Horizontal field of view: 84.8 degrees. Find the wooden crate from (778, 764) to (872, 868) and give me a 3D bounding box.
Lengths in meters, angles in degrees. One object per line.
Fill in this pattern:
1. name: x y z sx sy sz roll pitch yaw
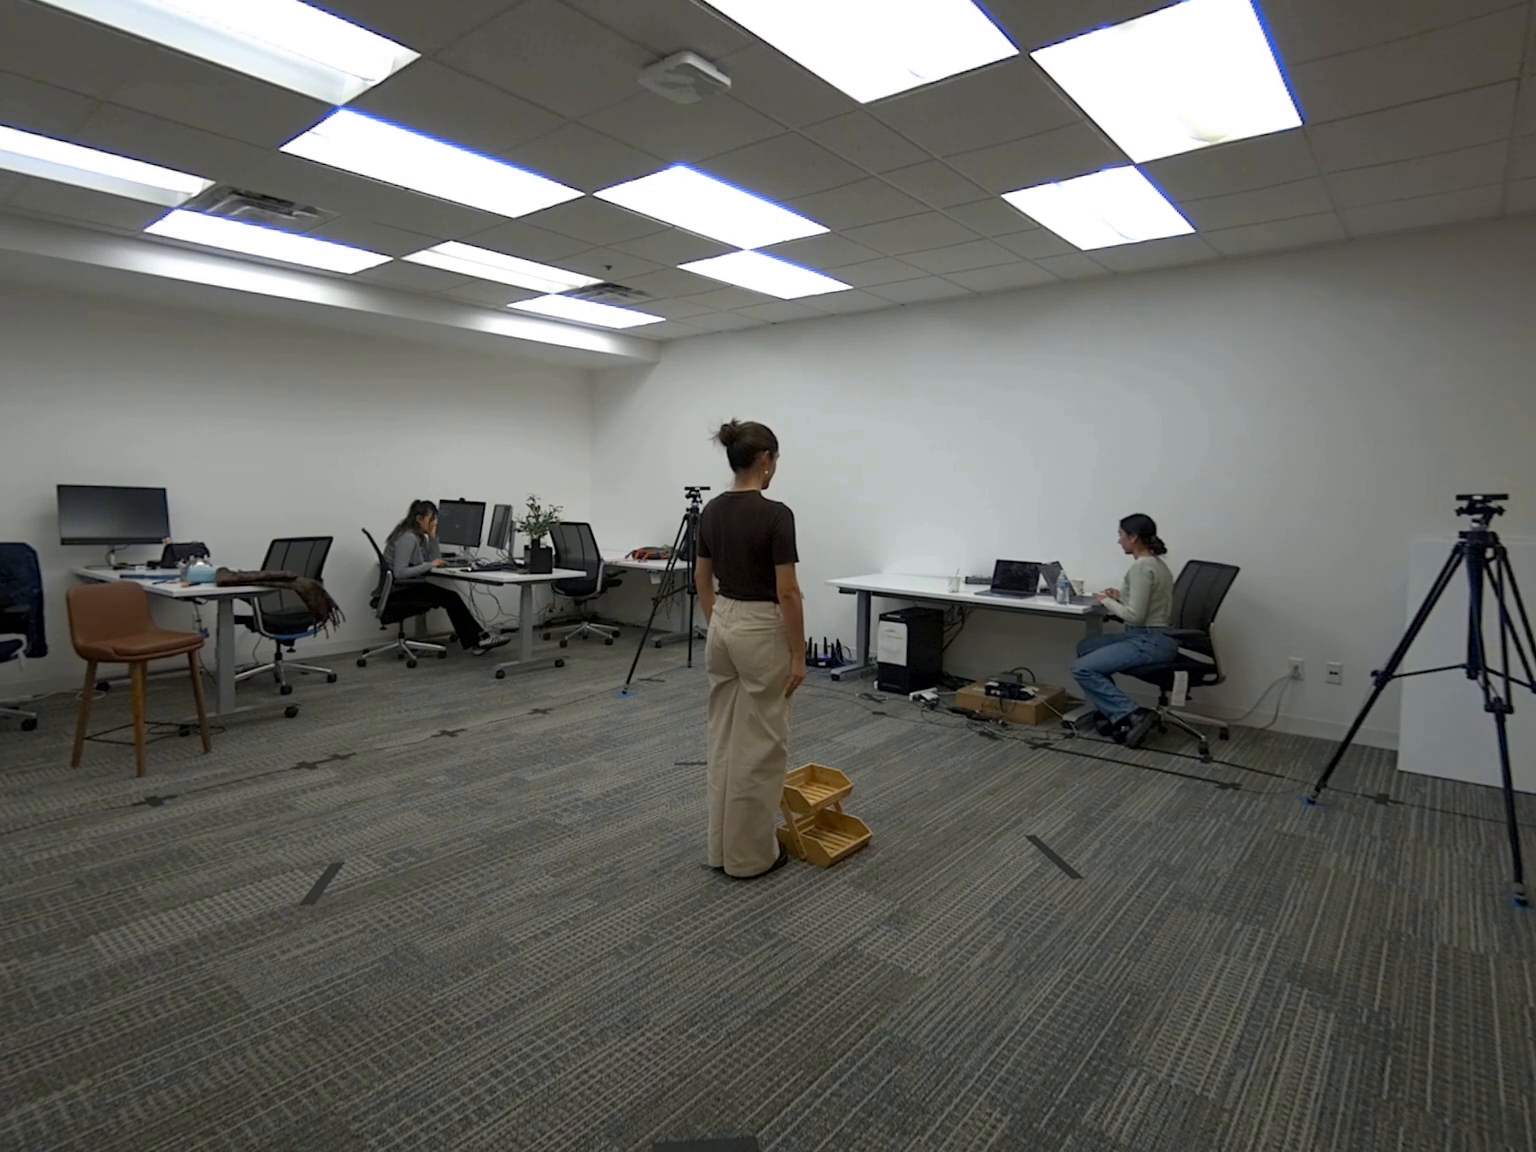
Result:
1. wooden crate: 0.194 0.915 3.313 0.312 0.272 0.315 3 5 39
